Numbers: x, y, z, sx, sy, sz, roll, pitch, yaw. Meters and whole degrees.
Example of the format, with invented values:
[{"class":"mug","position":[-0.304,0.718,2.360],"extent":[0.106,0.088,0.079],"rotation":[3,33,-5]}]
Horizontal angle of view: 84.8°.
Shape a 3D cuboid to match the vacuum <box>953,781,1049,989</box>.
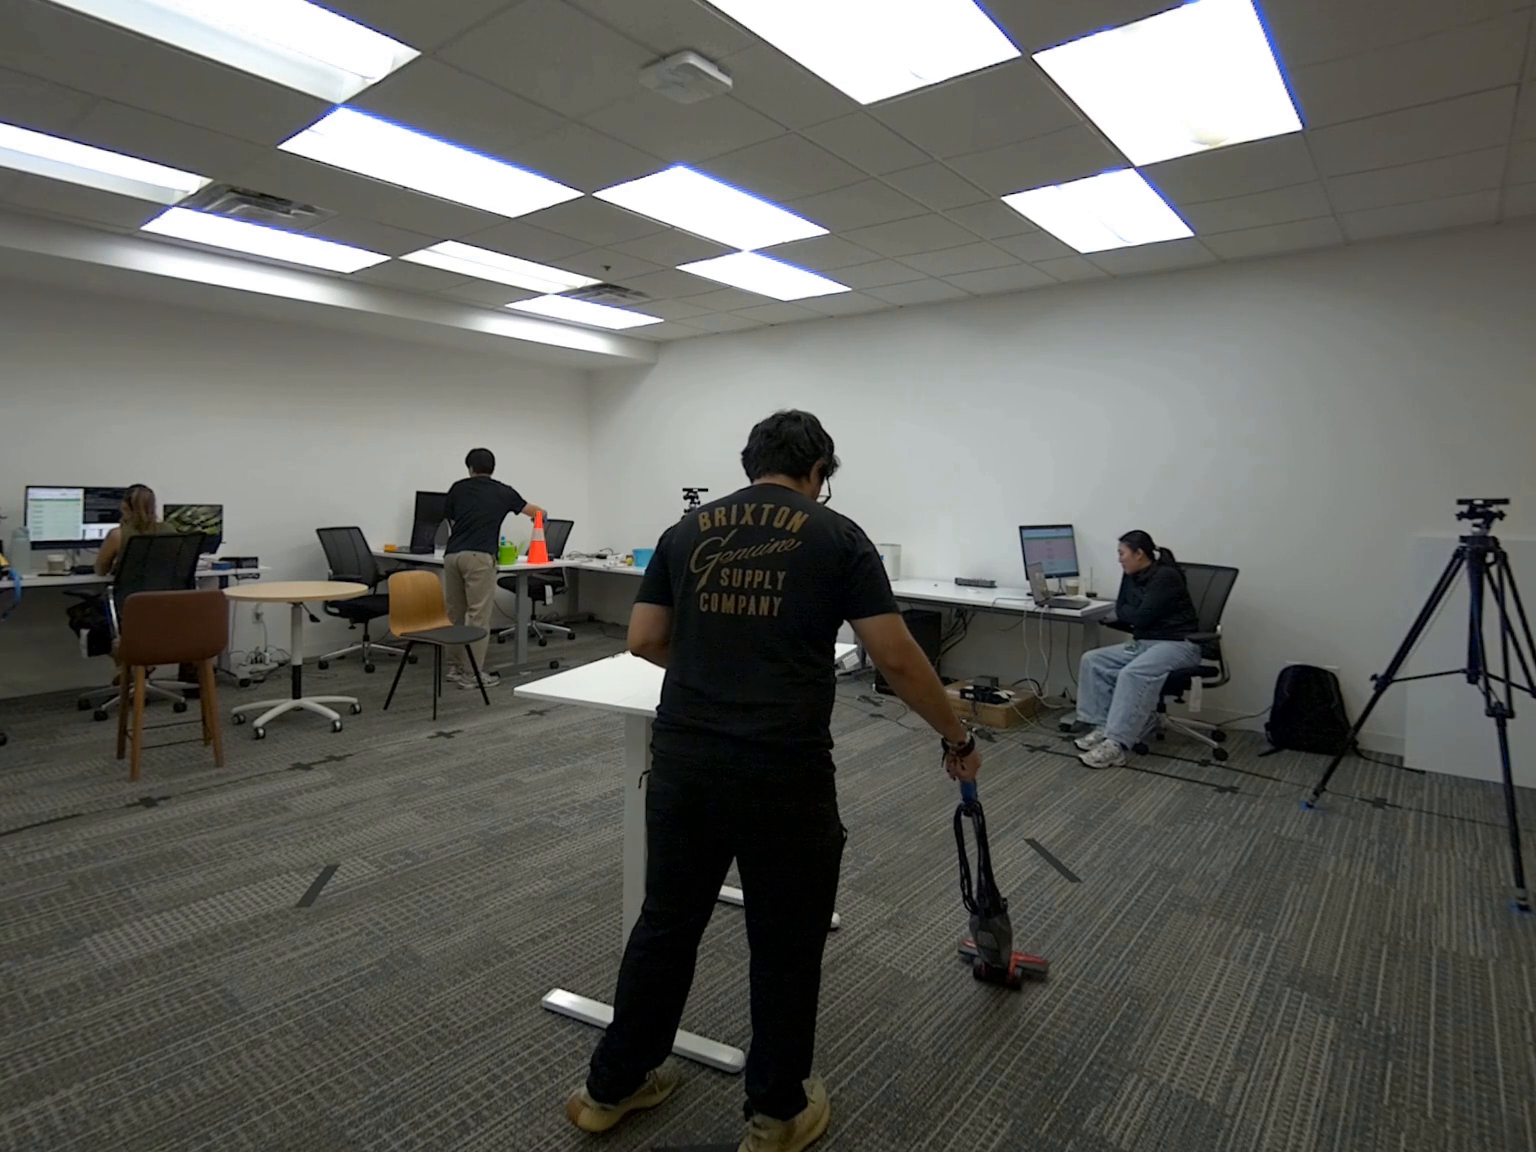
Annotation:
[{"class":"vacuum","position":[0.527,0.767,2.163],"extent":[0.260,1.011,0.145],"rotation":[4,45,28]}]
